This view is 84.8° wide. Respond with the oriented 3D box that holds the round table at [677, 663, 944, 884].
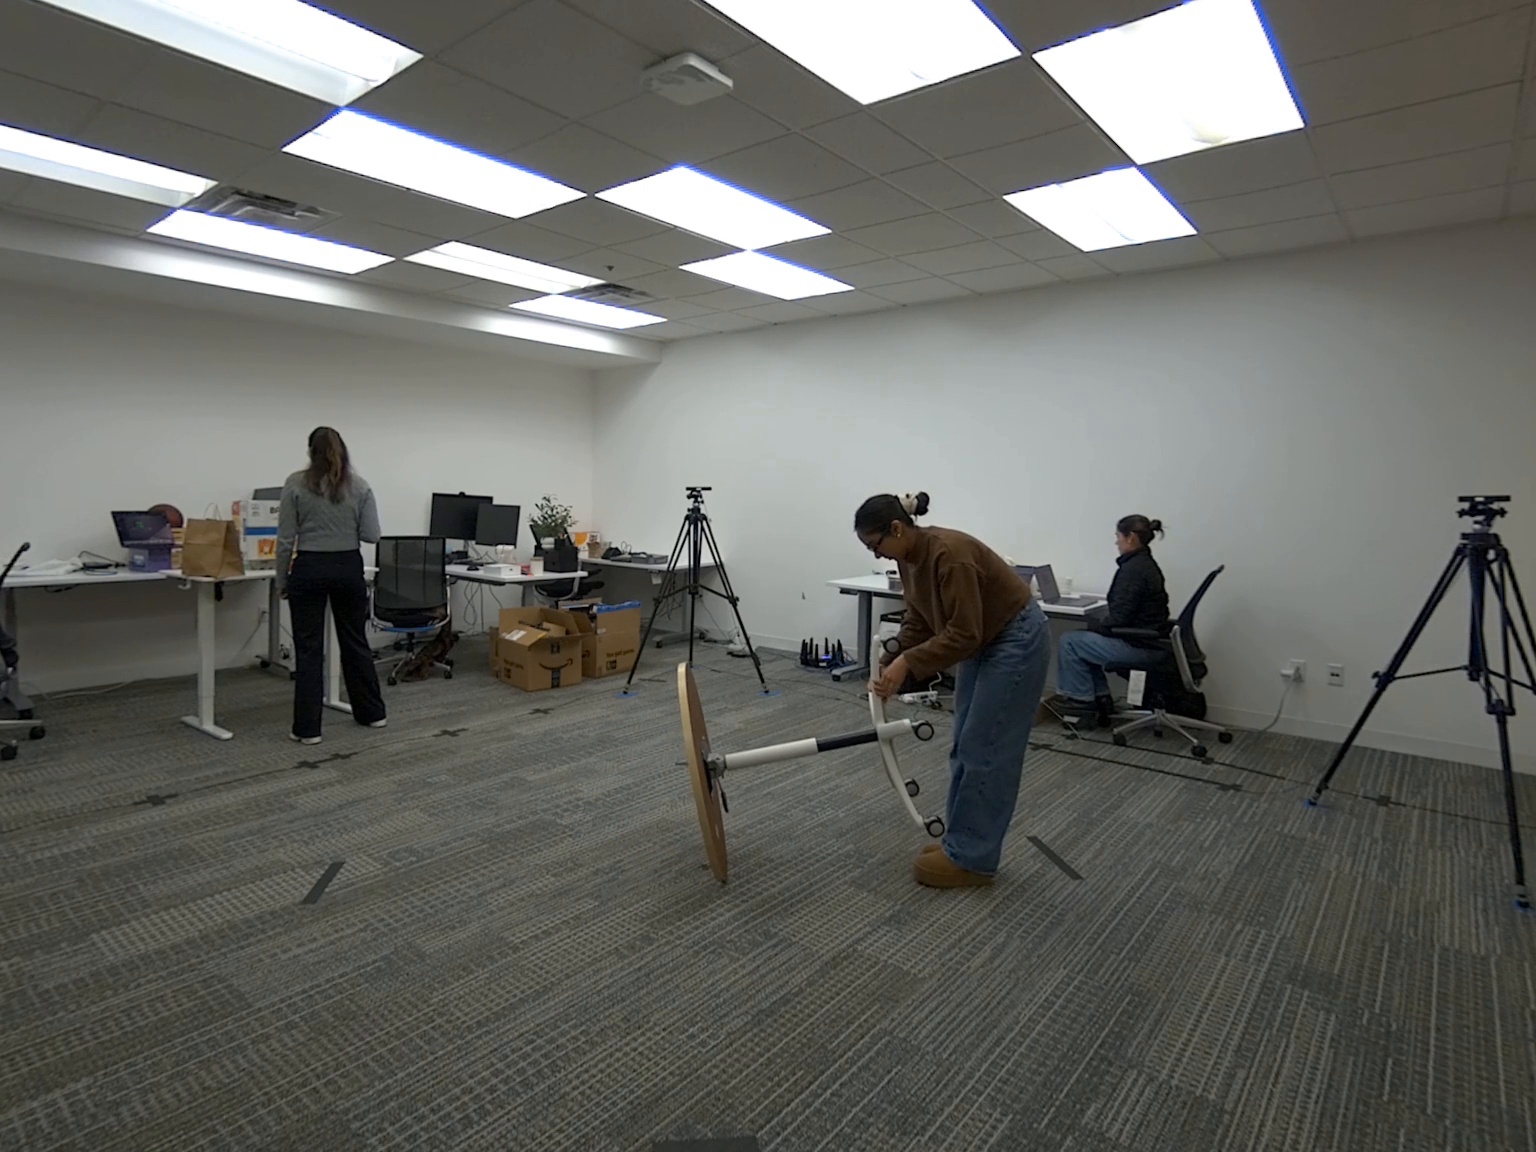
[{"bbox_3d":[0.128,0.618,3.072,0.794,0.761,0.767,-11,4,0],"label":"round table"}]
